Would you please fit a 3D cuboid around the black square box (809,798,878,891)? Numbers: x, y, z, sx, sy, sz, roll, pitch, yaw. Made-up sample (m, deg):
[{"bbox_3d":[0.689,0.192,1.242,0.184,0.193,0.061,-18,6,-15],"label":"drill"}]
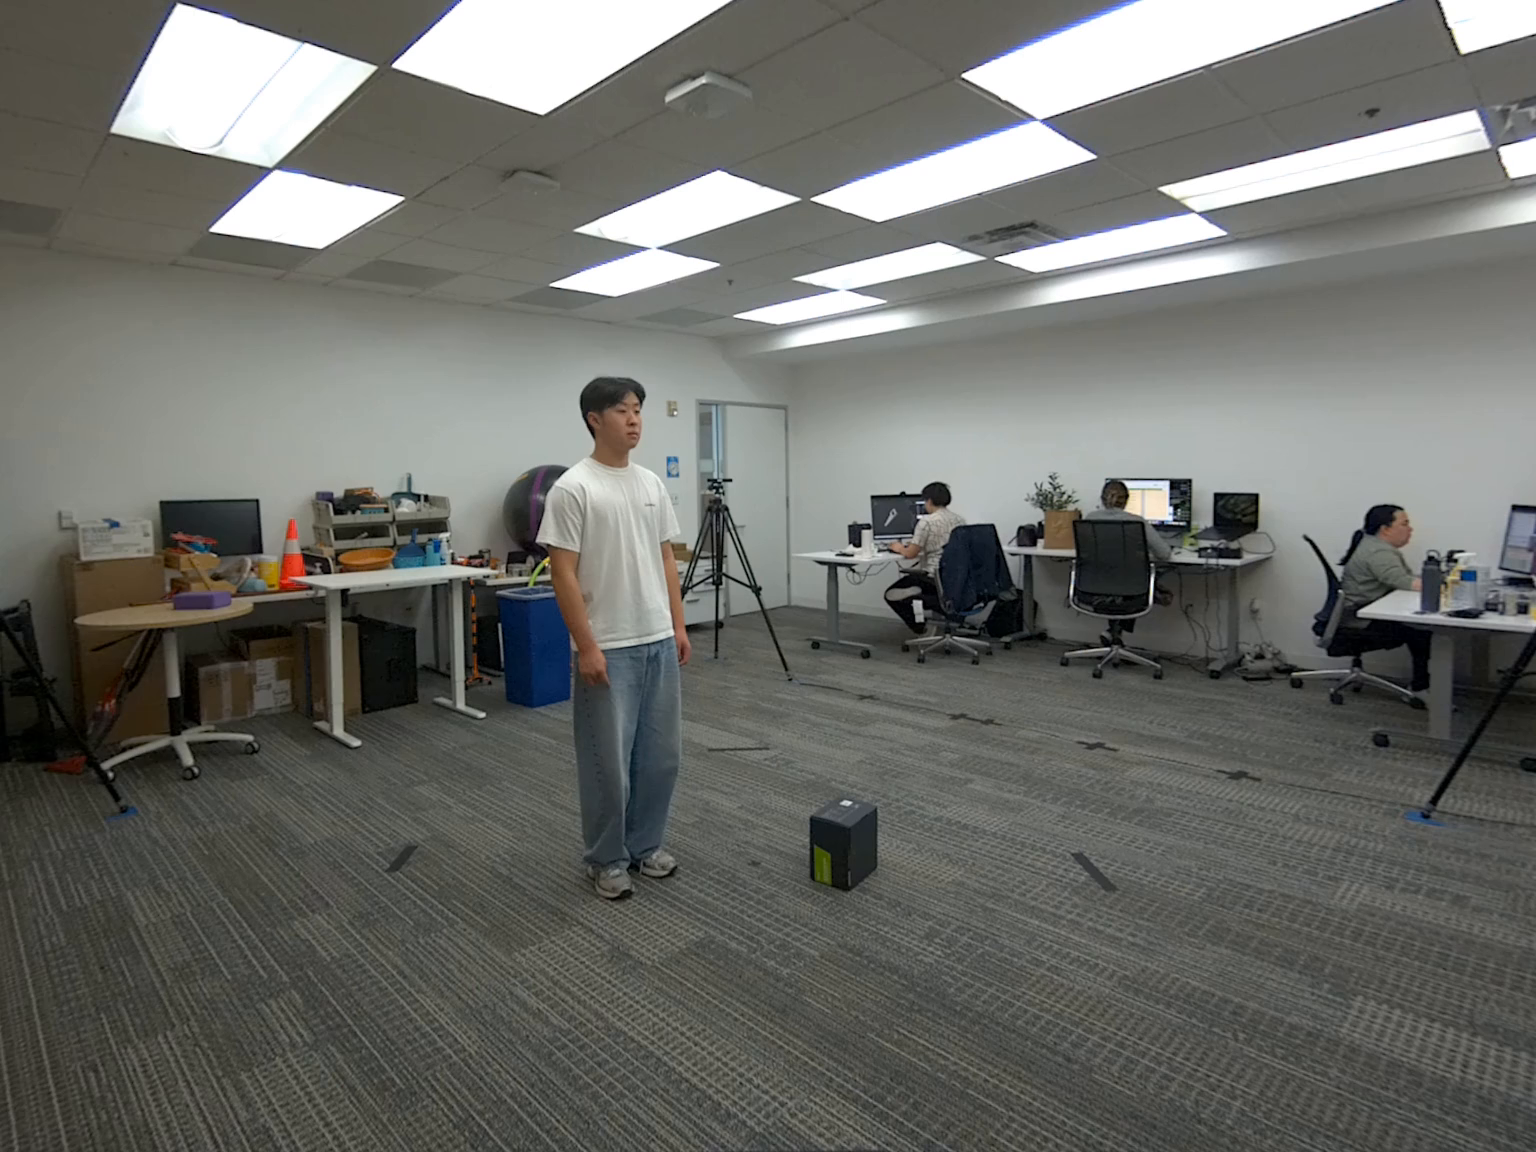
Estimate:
[{"bbox_3d":[0.266,0.928,2.994,0.160,0.227,0.212,4,7,34],"label":"black square box"}]
